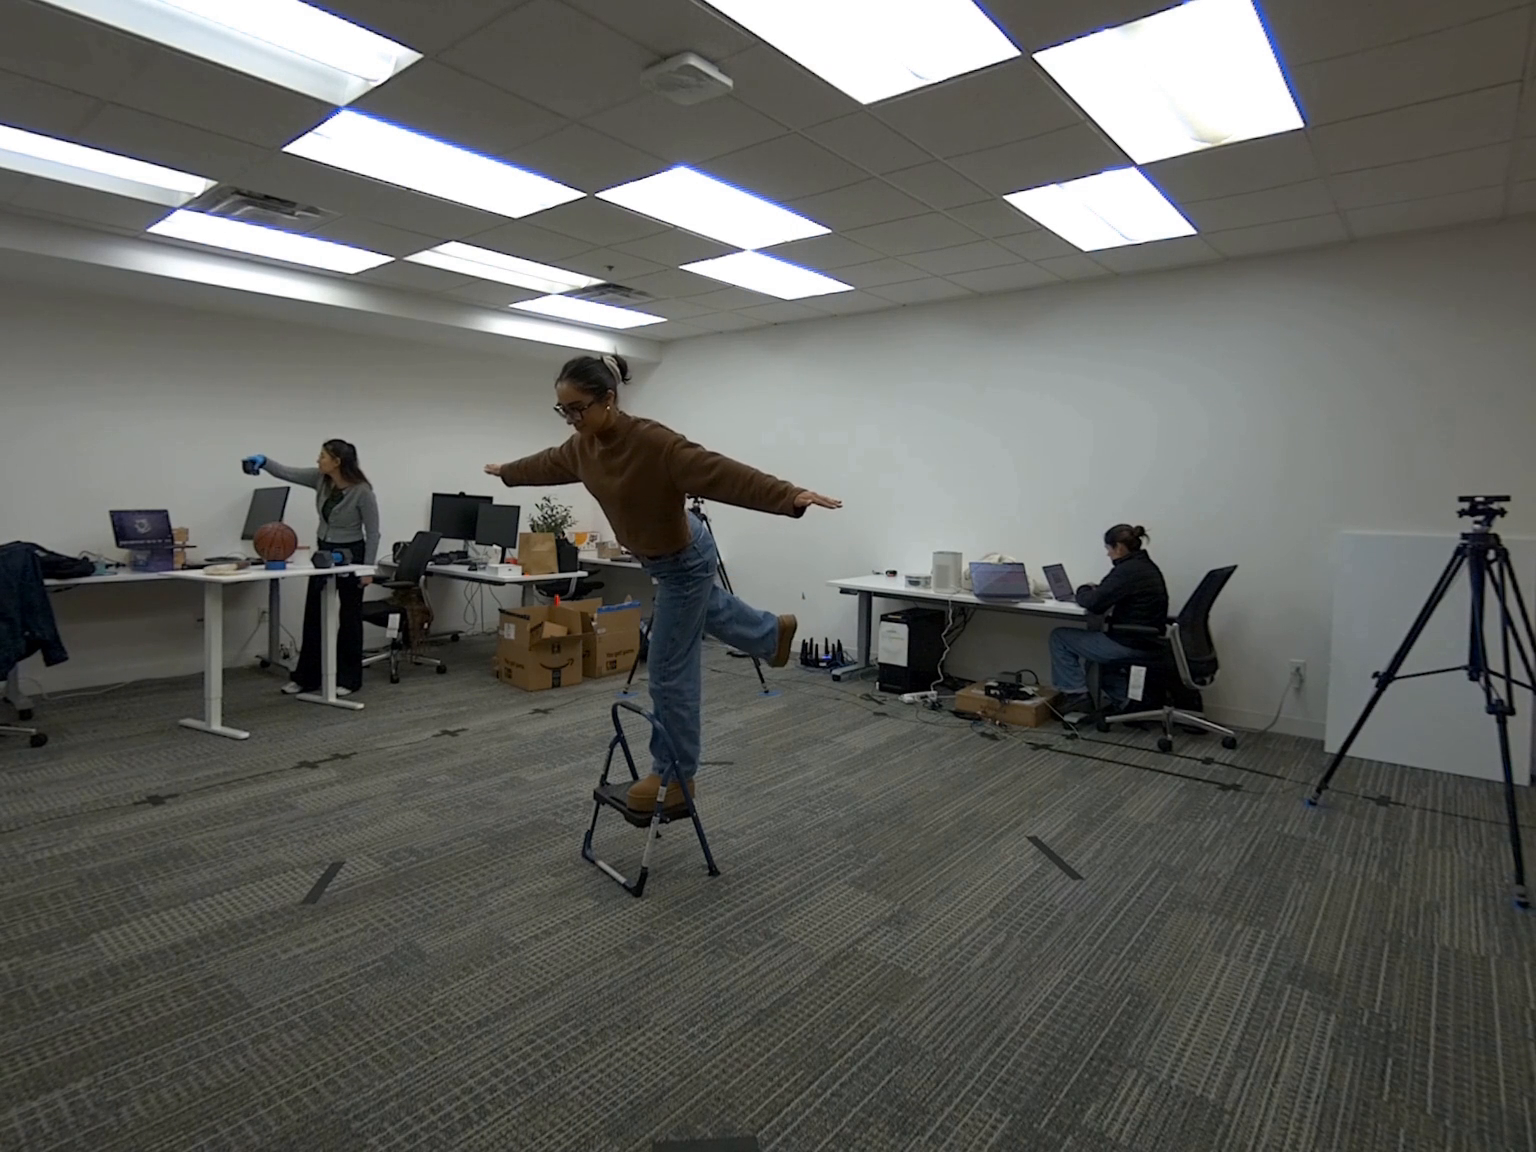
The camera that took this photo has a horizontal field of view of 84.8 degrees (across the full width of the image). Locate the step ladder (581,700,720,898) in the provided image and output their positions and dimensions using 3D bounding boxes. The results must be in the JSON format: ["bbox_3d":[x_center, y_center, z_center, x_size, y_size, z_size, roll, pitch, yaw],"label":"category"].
[{"bbox_3d":[-0.447,0.760,3.116,0.339,0.604,0.445,-2,5,-39],"label":"step ladder"}]
